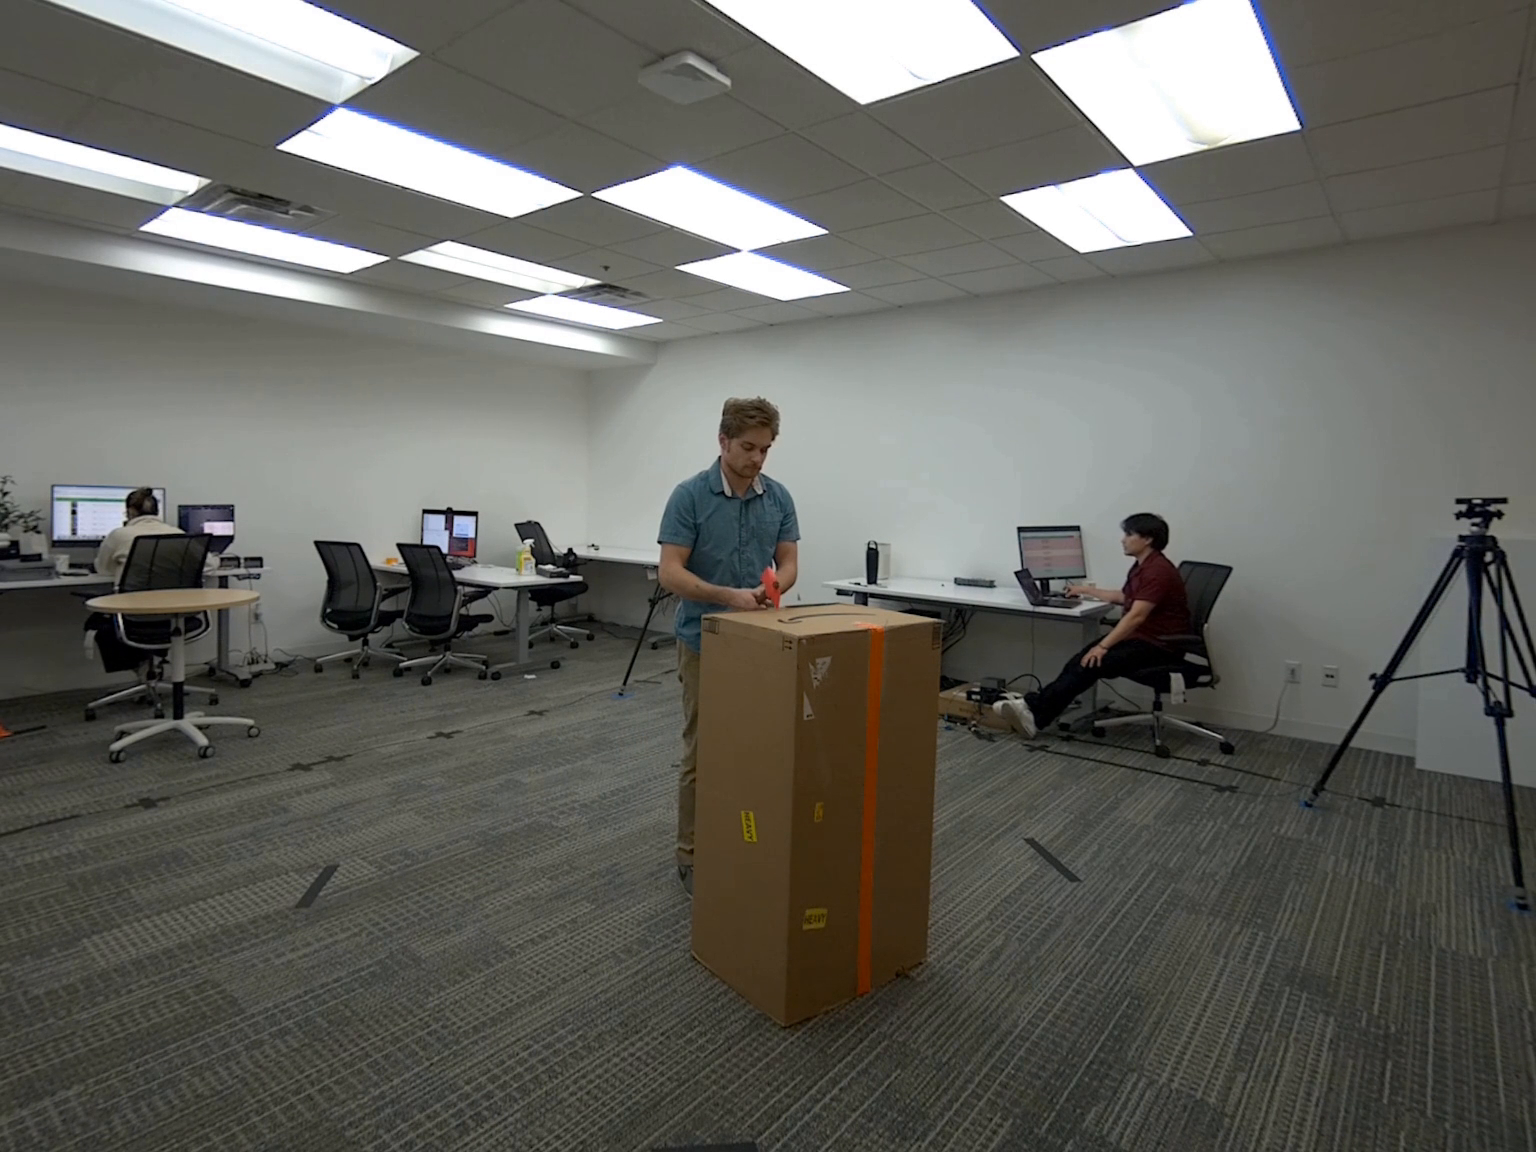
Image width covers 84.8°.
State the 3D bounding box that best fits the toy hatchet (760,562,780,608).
[{"bbox_3d":[-0.025,0.033,2.668,0.029,0.131,0.274,-6,-2,-19],"label":"toy hatchet"}]
